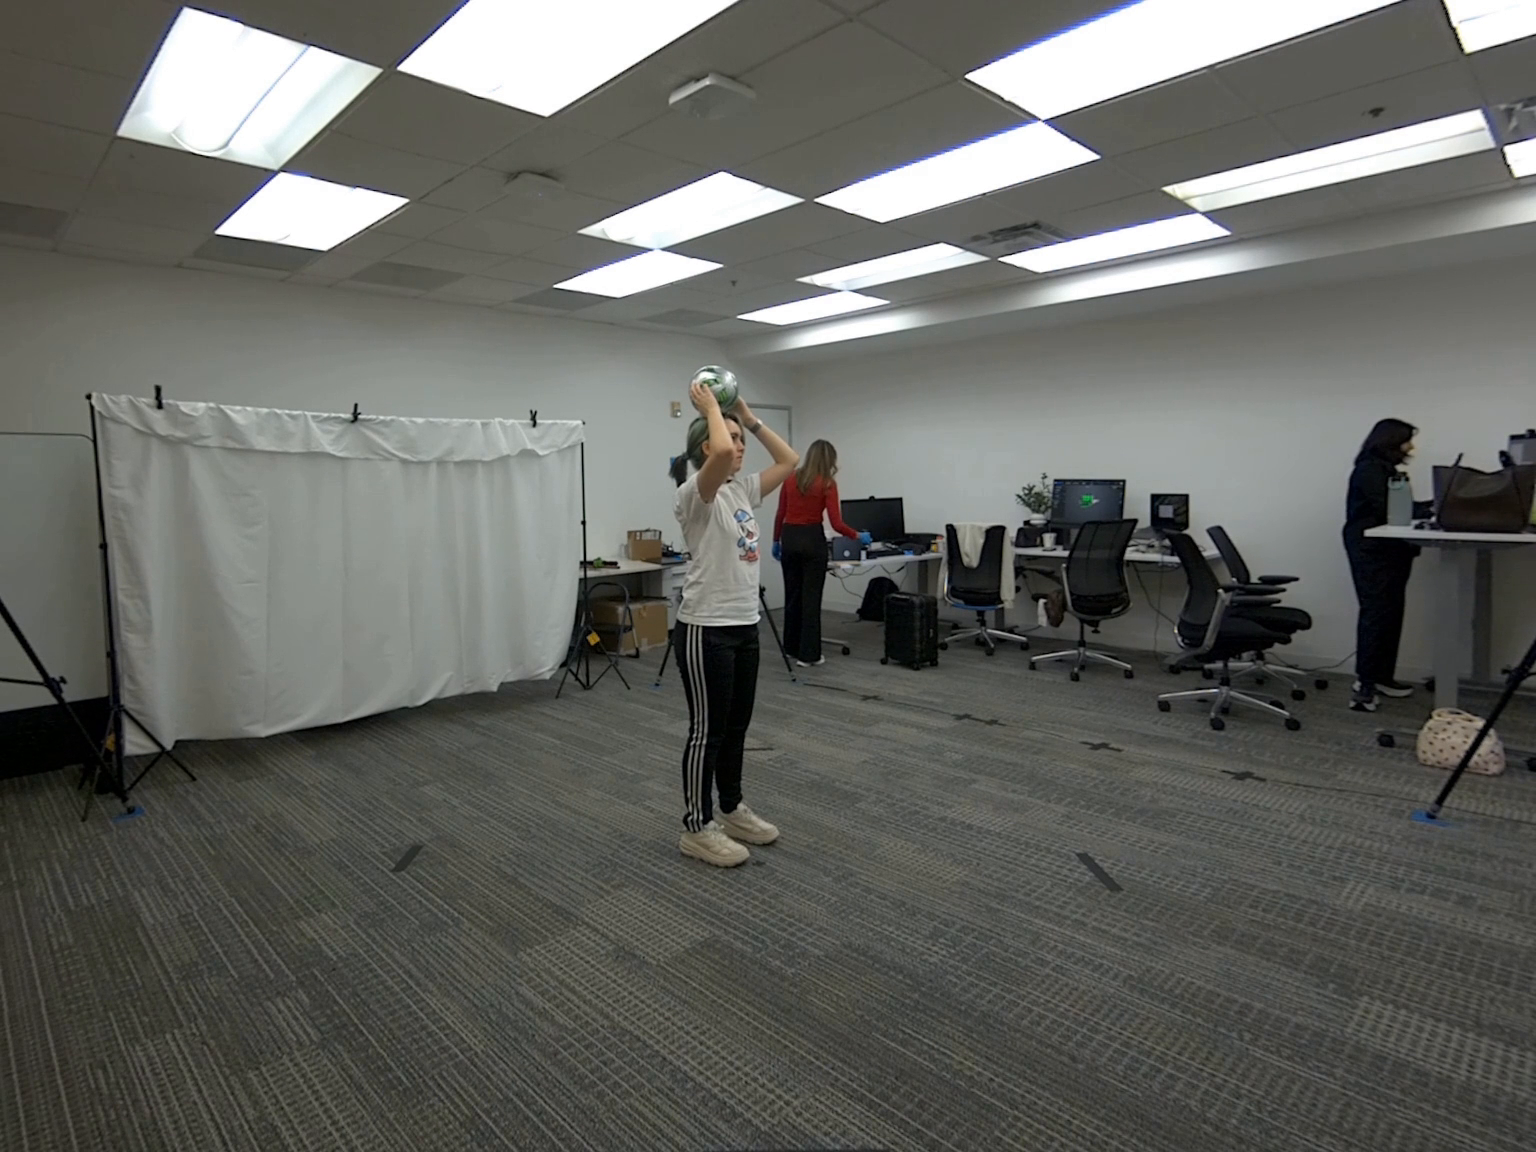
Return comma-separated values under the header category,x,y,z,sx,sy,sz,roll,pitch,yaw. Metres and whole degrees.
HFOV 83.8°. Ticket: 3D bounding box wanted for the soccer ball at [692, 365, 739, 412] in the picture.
category,x,y,z,sx,sy,sz,roll,pitch,yaw
soccer ball,-0.201,-0.683,3.170,0.187,0.187,0.188,-1,5,-2
